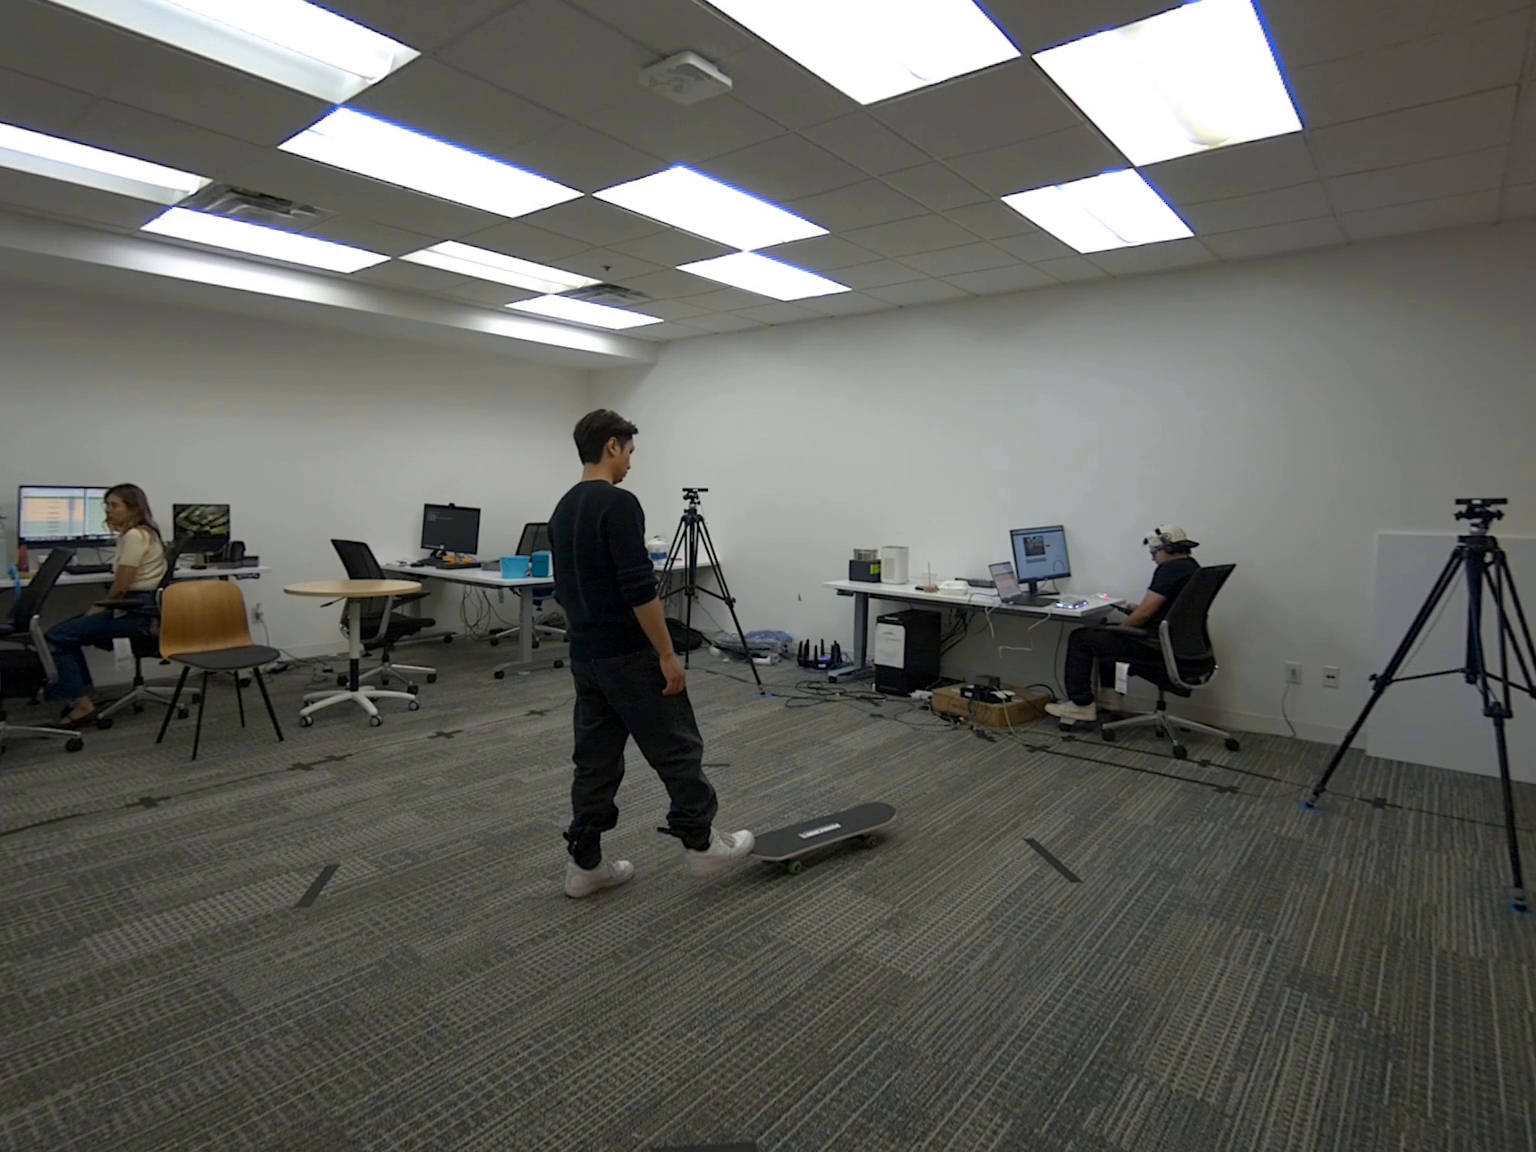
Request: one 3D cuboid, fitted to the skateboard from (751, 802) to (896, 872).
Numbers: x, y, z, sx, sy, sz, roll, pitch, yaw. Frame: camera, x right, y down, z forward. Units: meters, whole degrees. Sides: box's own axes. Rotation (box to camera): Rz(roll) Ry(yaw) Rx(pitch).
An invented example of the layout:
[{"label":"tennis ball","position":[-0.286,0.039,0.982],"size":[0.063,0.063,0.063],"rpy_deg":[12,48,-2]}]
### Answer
[{"label":"skateboard","position":[0.189,1.007,3.272],"size":[0.762,0.110,0.200],"rpy_deg":[-4,7,-39]}]
